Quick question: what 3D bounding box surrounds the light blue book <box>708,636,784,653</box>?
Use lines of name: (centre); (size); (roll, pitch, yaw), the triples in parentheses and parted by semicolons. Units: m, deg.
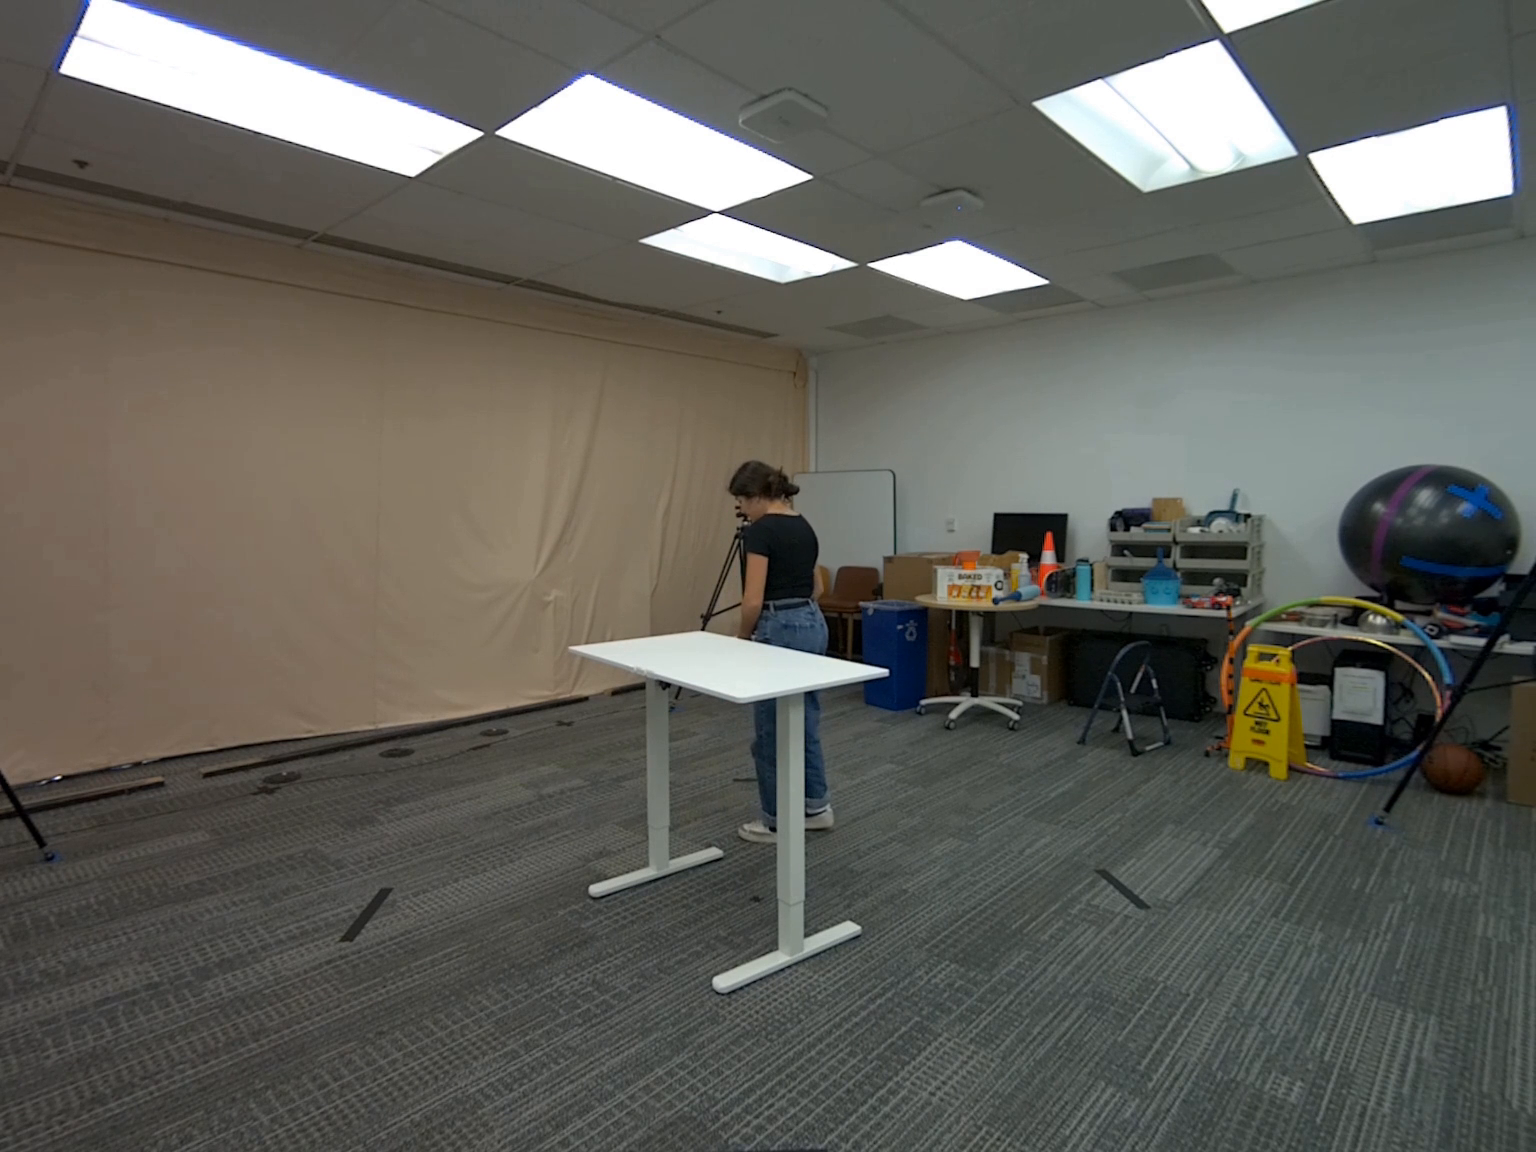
light blue book: (-0.099, 0.293, 3.707); (0.269, 0.059, 0.185); (-5, -2, 37)
